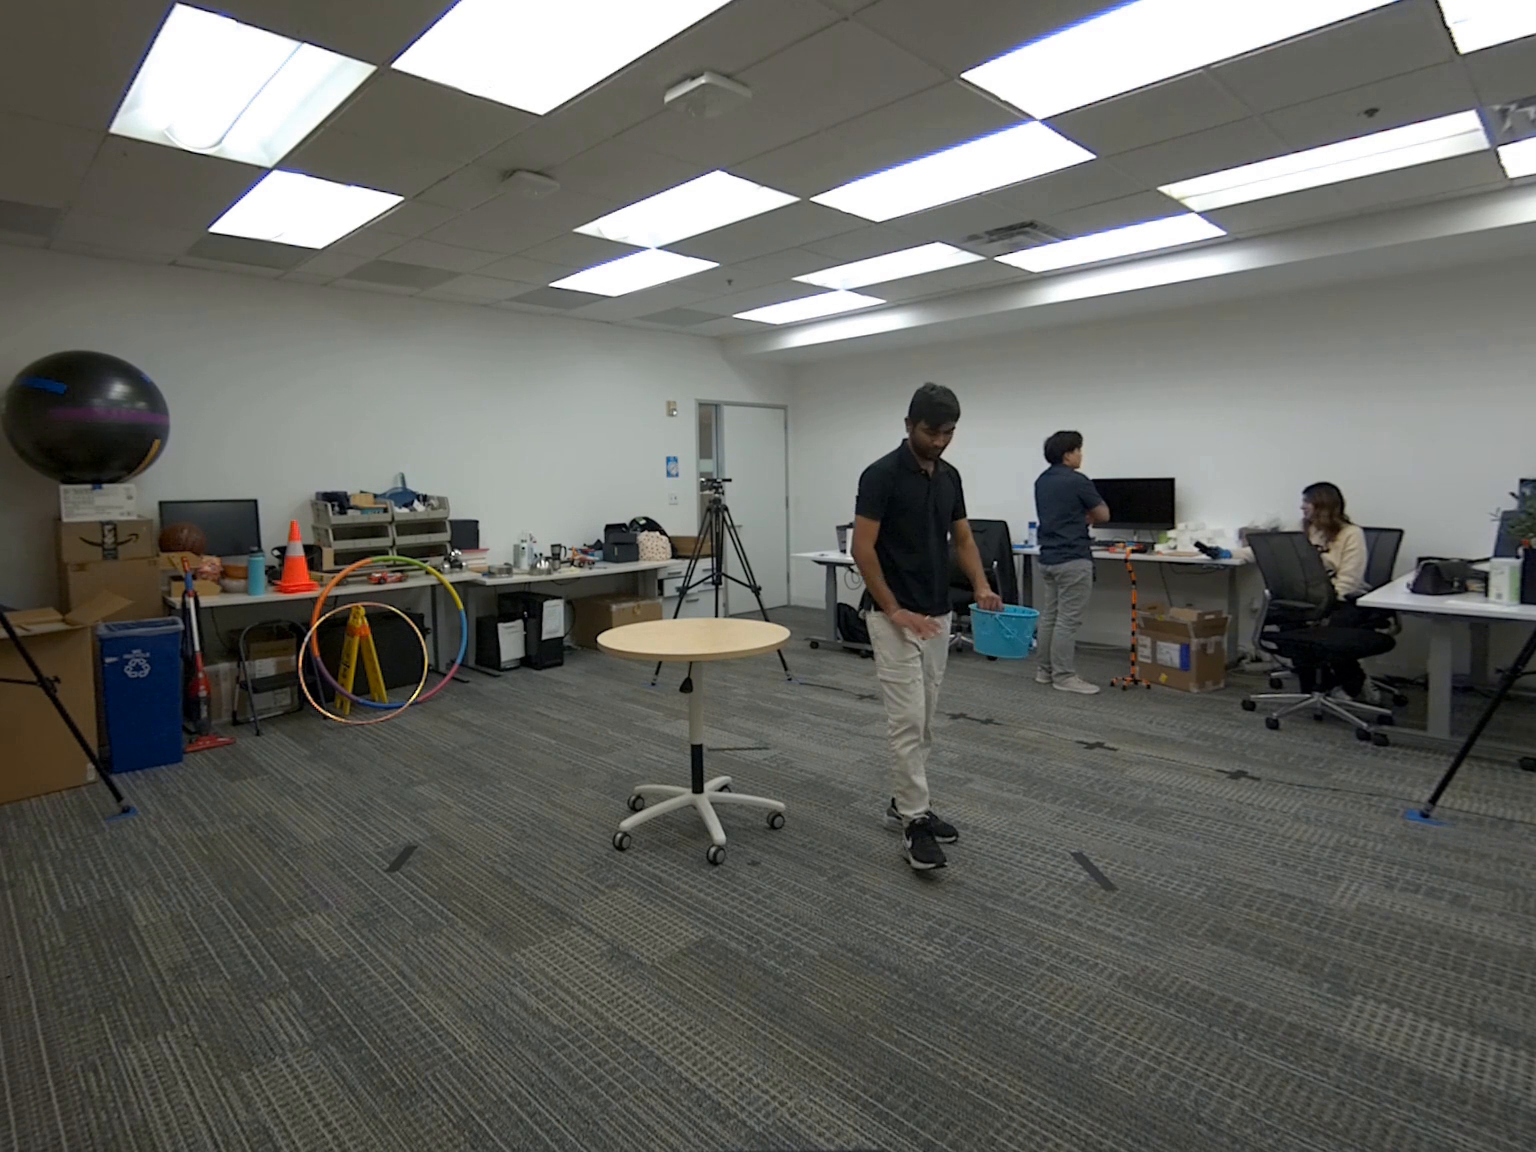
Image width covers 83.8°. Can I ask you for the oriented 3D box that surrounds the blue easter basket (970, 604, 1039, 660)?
[{"bbox_3d":[0.824,0.190,2.965,0.243,0.155,0.245,2,7,-2],"label":"blue easter basket"}]
